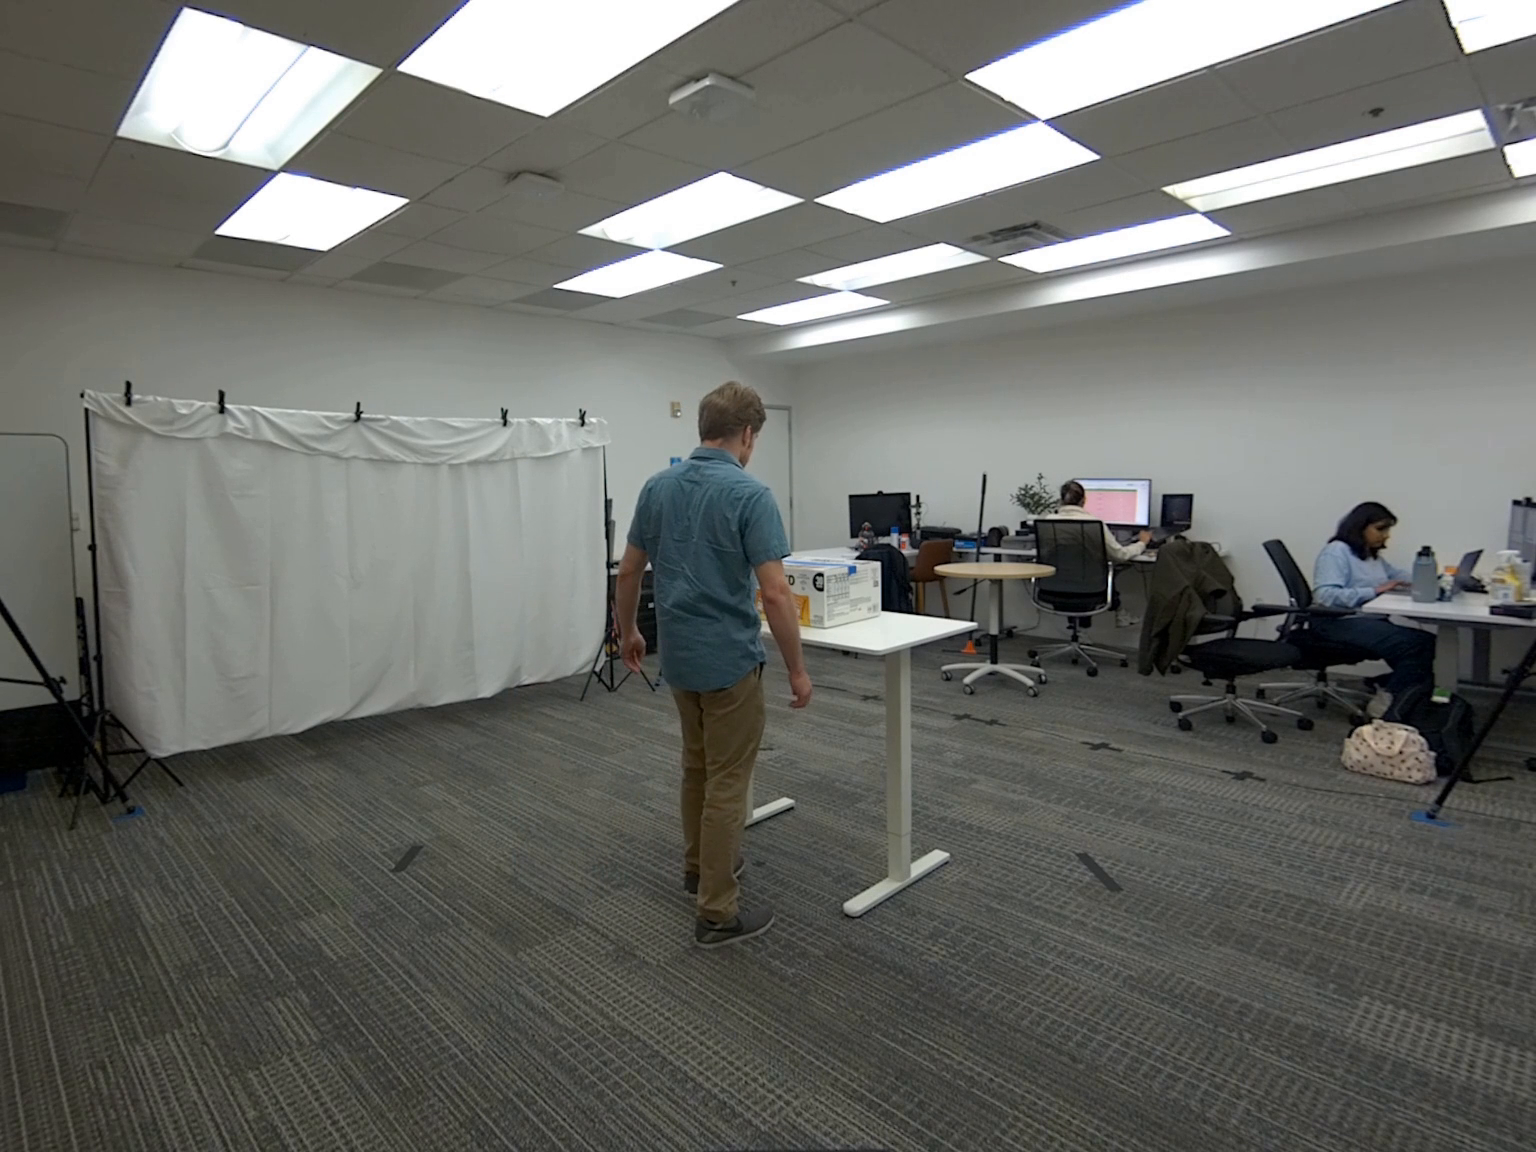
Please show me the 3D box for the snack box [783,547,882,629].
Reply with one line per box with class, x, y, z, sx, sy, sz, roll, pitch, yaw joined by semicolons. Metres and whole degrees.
snack box;0.154;0.051;3.171;0.418;0.204;0.332;5;9;42
